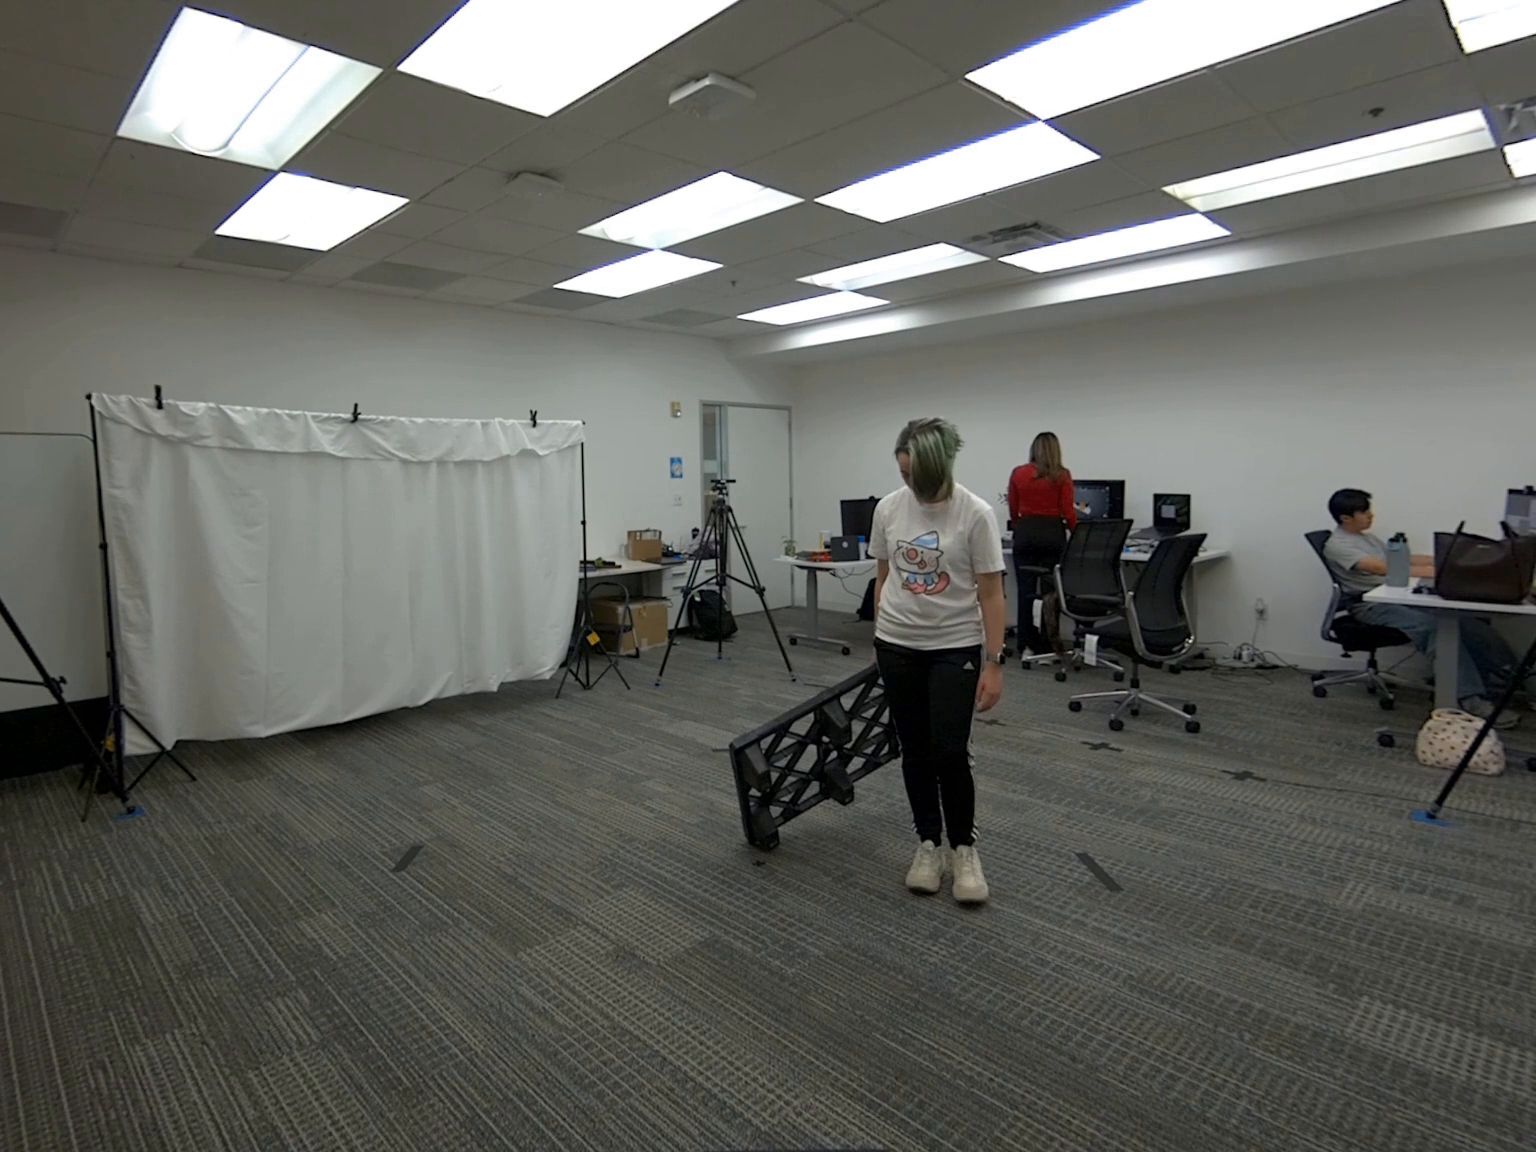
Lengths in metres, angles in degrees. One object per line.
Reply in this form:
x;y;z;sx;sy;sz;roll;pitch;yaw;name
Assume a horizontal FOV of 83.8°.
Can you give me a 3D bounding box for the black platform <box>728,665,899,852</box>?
0.261;0.670;3.203;0.798;0.587;0.149;-25;41;-19;black platform
